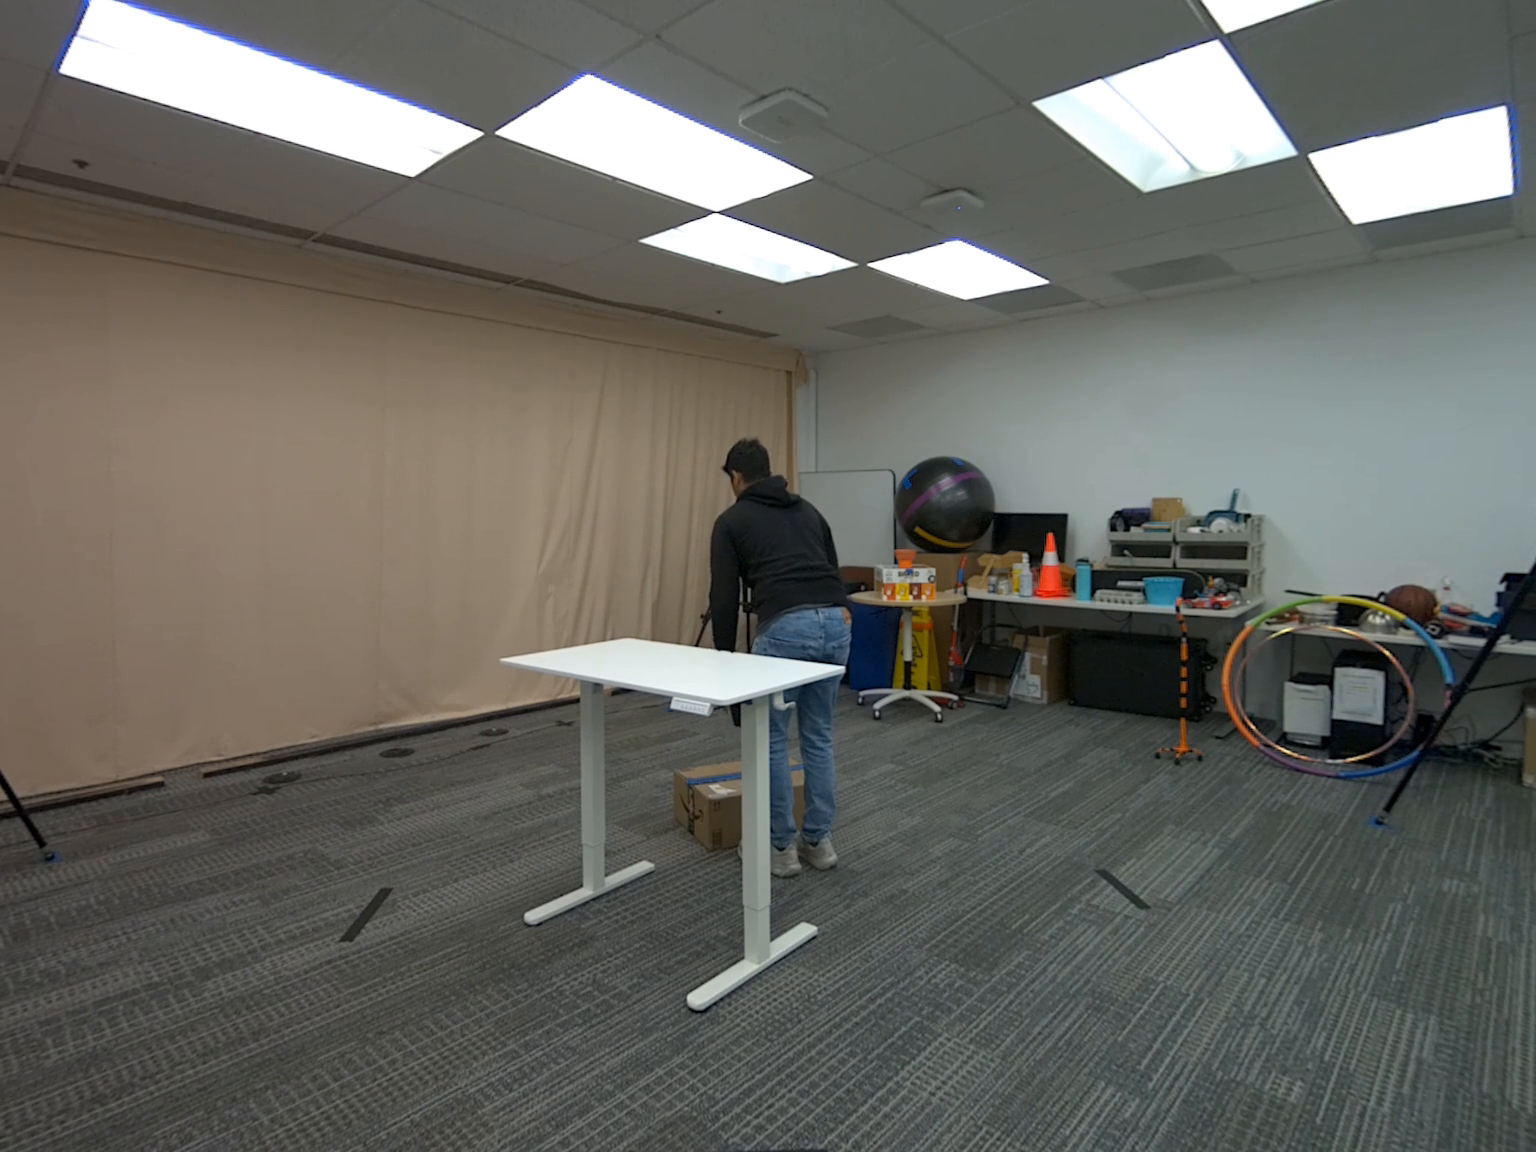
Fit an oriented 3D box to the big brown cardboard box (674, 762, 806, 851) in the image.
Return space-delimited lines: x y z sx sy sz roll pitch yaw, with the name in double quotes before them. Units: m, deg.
"big brown cardboard box" -0.082 0.978 3.681 0.575 0.233 0.428 -1 4 -26
